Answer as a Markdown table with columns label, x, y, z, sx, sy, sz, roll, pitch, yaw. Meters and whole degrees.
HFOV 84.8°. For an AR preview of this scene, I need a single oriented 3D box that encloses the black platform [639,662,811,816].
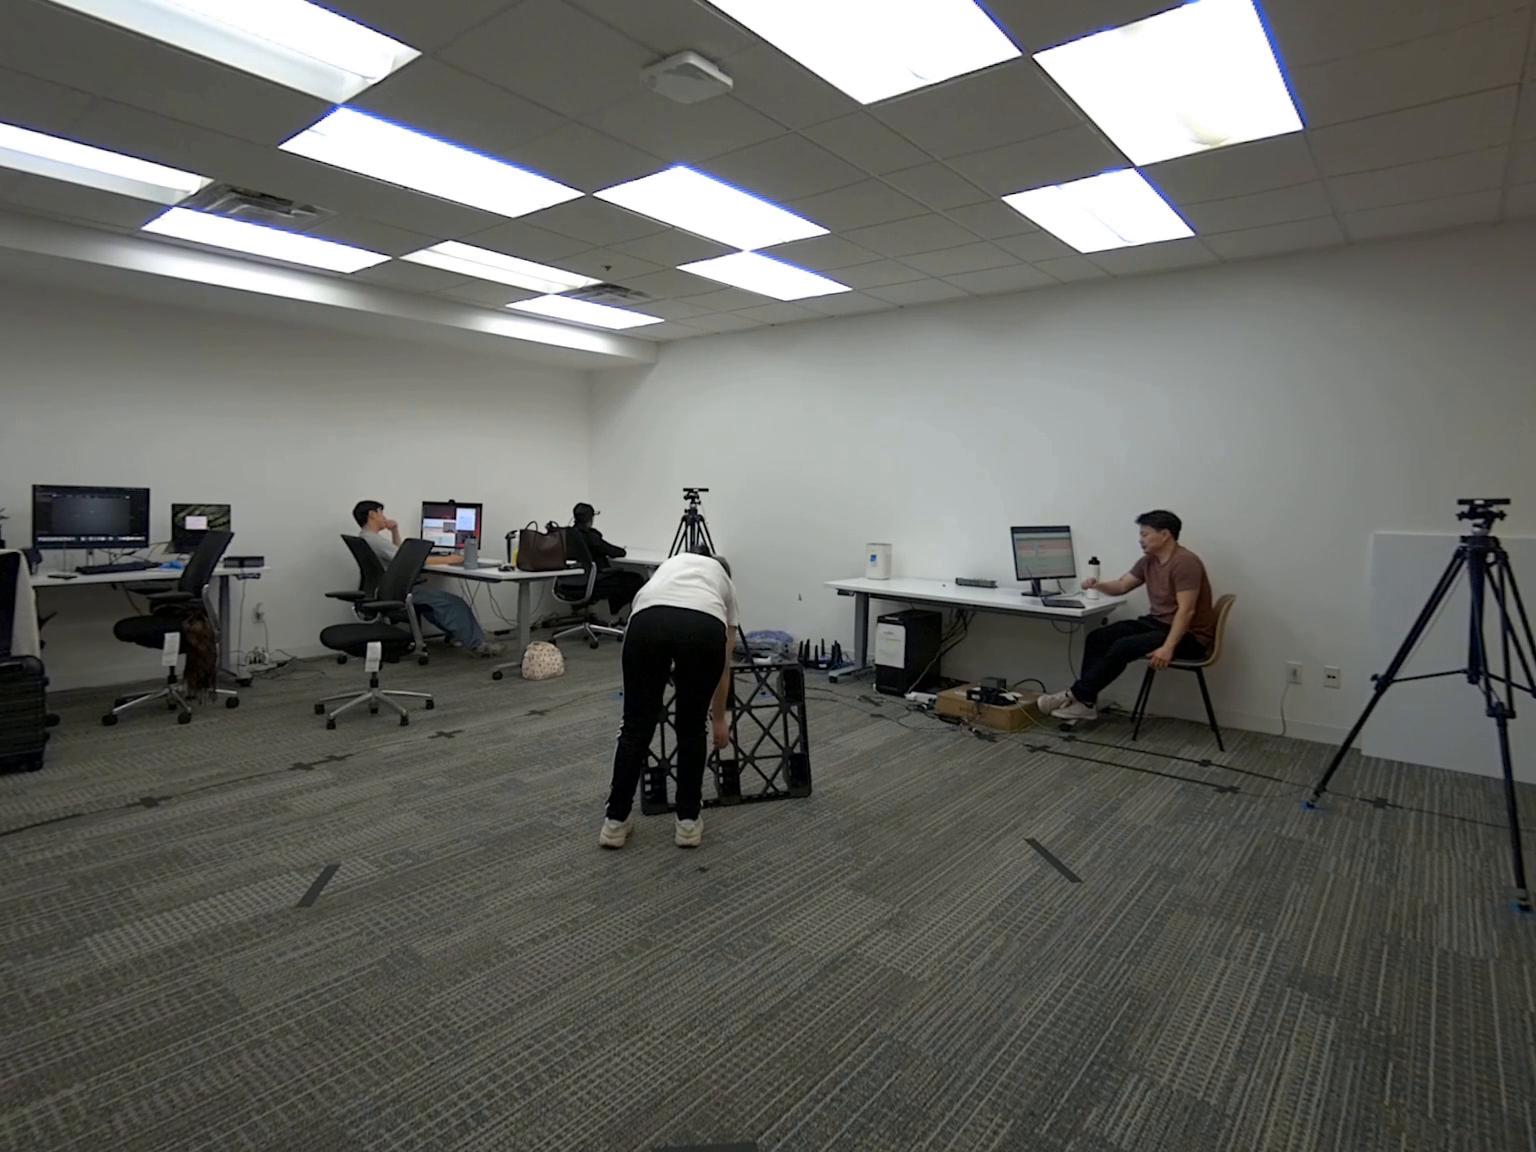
| label | x | y | z | sx | sy | sz | roll | pitch | yaw |
| --- | --- | --- | --- | --- | --- | --- | --- | --- | --- |
| black platform | -0.208 | 0.718 | 3.845 | 0.789 | 0.610 | 0.145 | 0 | -8 | -21 |
